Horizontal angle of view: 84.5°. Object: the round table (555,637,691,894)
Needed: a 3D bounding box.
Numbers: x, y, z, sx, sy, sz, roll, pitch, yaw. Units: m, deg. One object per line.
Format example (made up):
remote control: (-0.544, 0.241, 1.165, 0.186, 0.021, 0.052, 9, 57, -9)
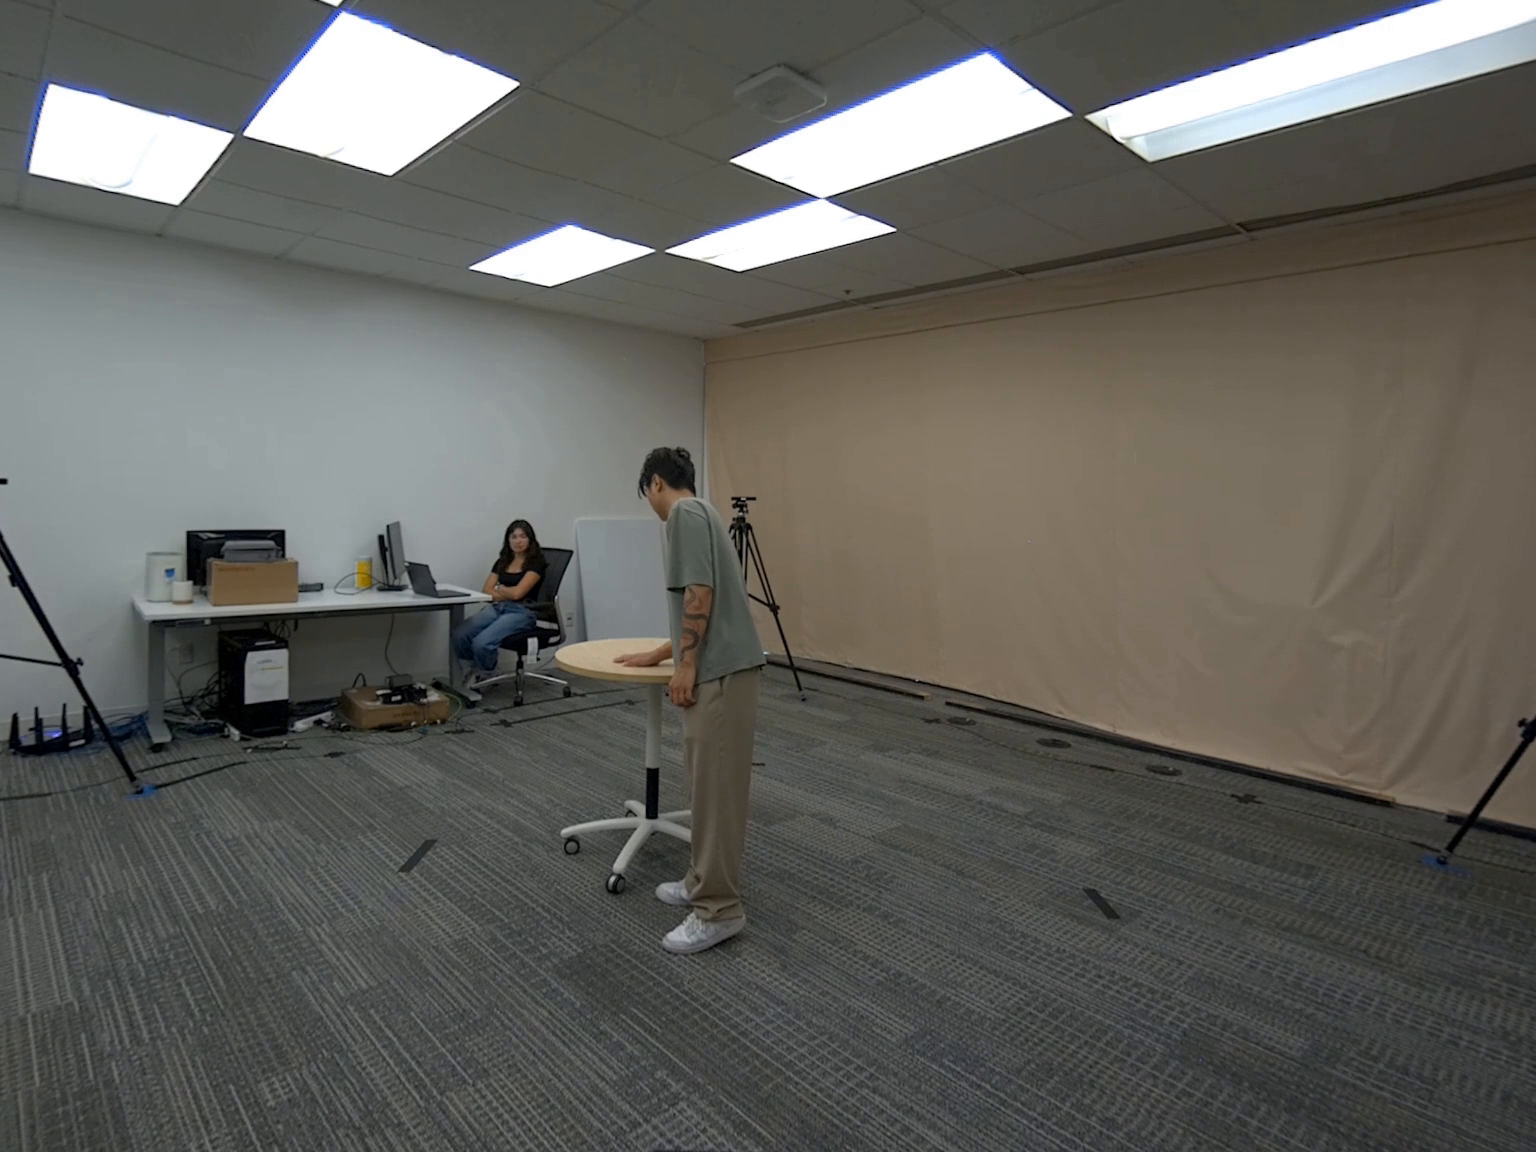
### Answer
round table: (-0.460, 0.697, 3.274, 0.763, 0.792, 0.766, 1, 4, -1)
